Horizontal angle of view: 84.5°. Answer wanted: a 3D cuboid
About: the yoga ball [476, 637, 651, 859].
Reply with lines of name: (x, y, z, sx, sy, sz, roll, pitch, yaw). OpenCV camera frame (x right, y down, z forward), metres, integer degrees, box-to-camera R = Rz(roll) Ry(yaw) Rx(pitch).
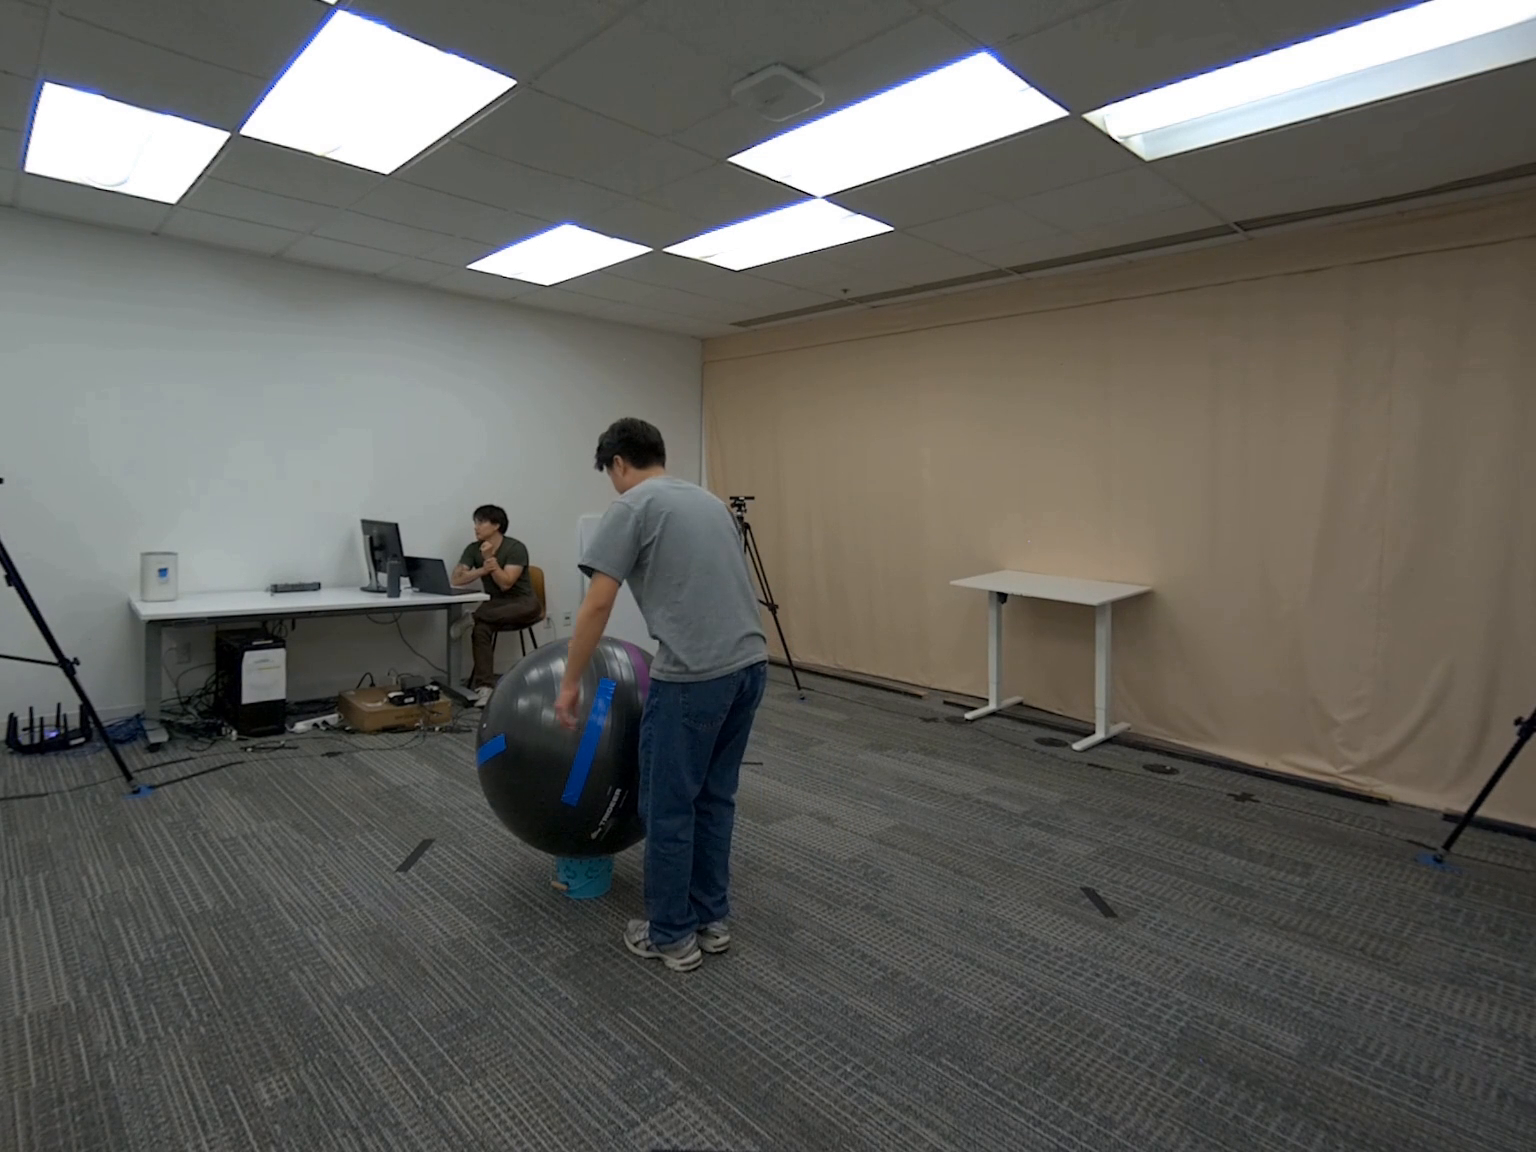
yoga ball: (-0.642, 0.595, 2.975, 0.757, 0.756, 0.761, 1, 4, -1)
